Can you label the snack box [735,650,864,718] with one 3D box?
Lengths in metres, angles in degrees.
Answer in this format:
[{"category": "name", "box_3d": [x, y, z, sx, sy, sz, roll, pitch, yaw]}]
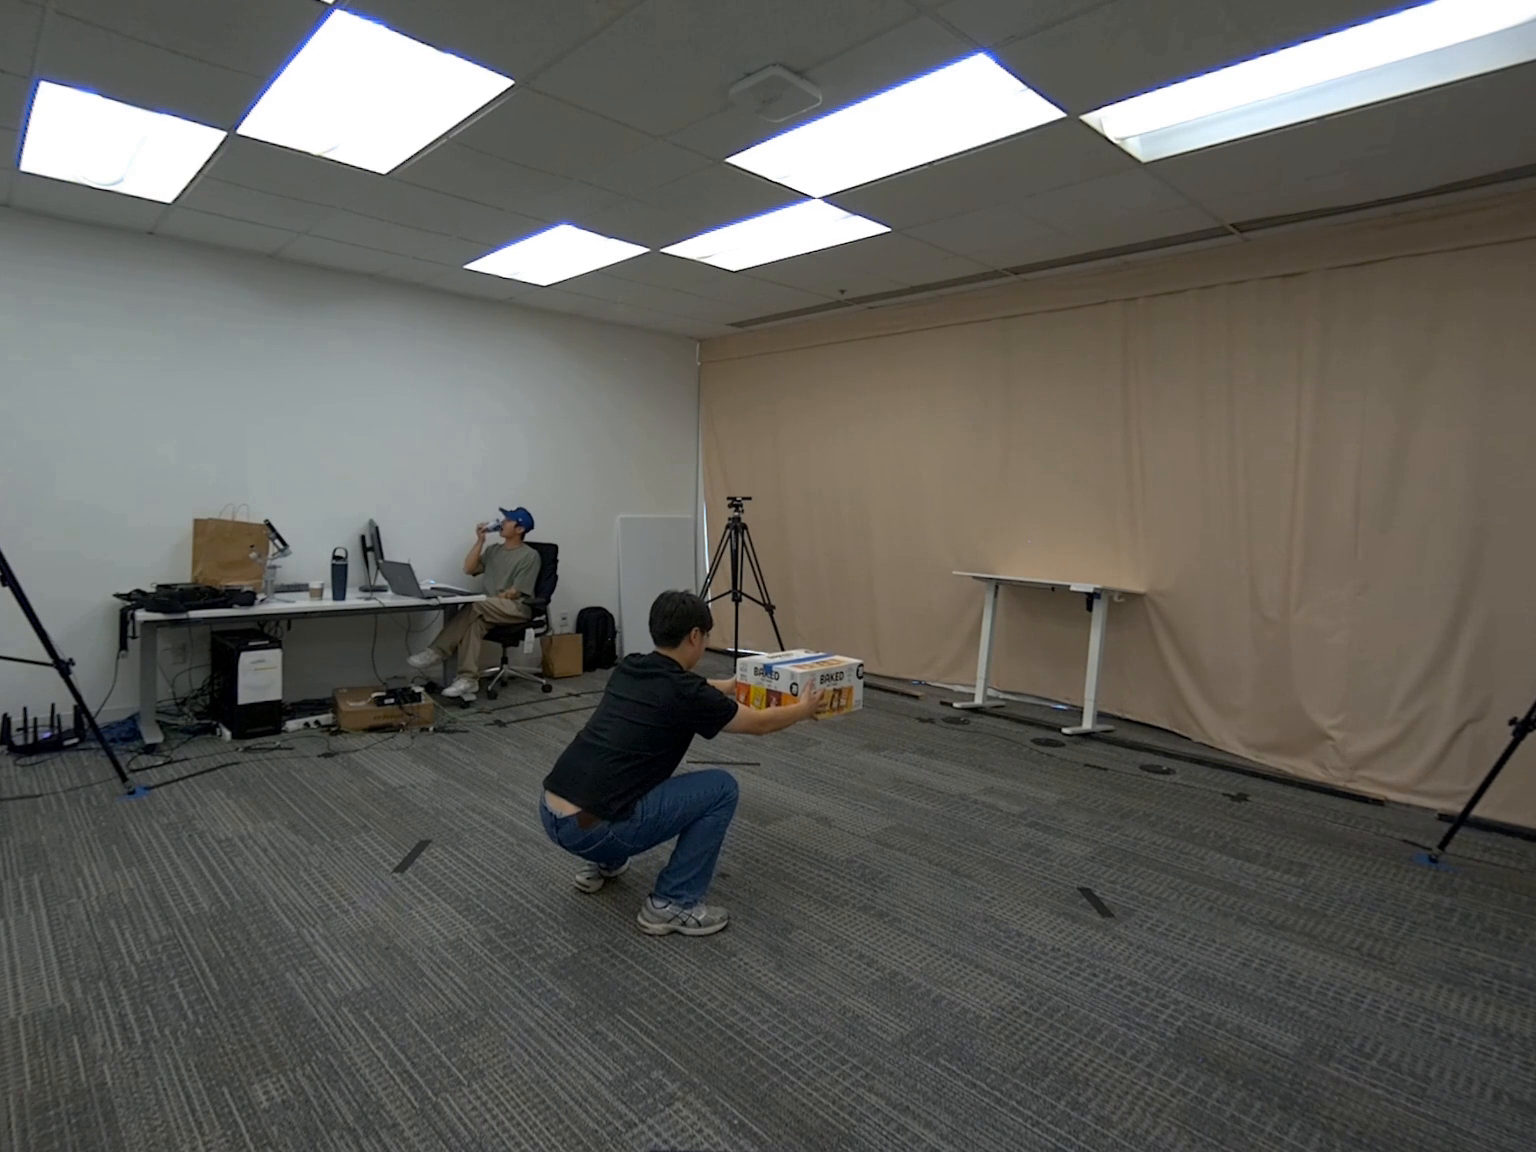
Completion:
[{"category": "snack box", "box_3d": [0.128, 0.433, 3.430, 0.349, 0.205, 0.396, 7, 7, 44]}]
